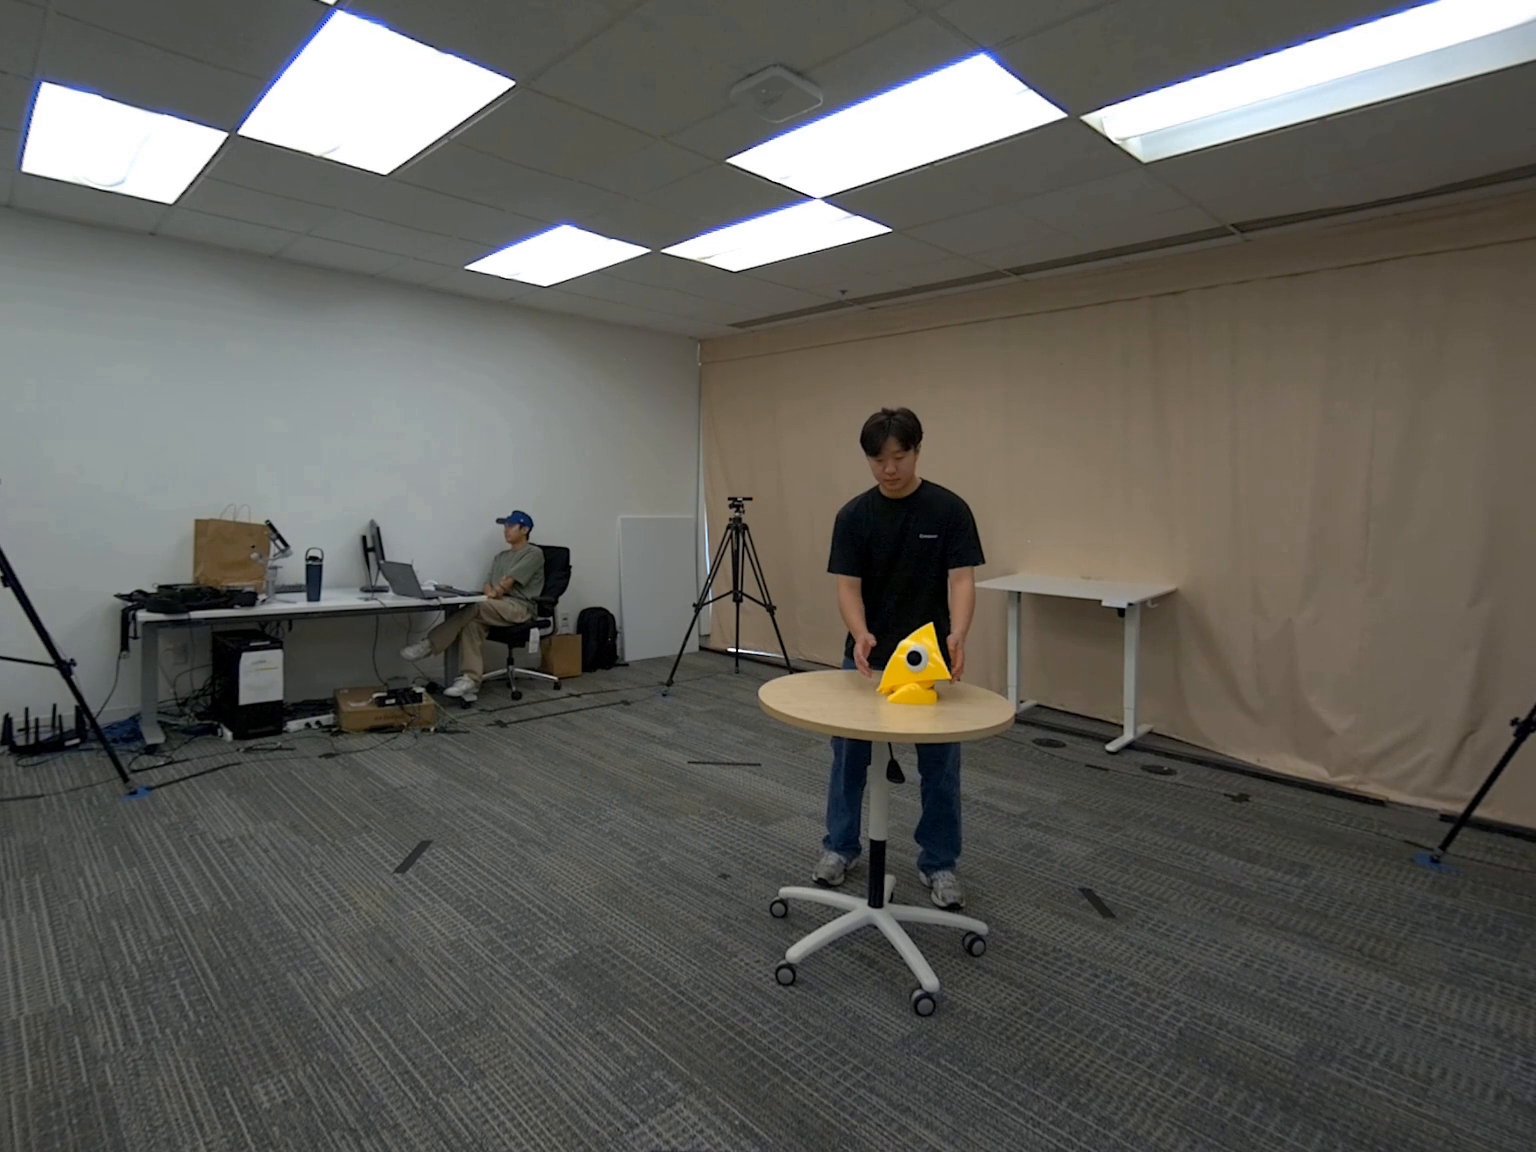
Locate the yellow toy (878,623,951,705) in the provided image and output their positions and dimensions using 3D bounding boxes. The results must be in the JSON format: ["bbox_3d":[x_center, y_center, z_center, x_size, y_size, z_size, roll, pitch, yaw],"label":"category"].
[{"bbox_3d":[0.435,0.258,2.588,0.192,0.230,0.206,2,4,-8],"label":"yellow toy"}]
